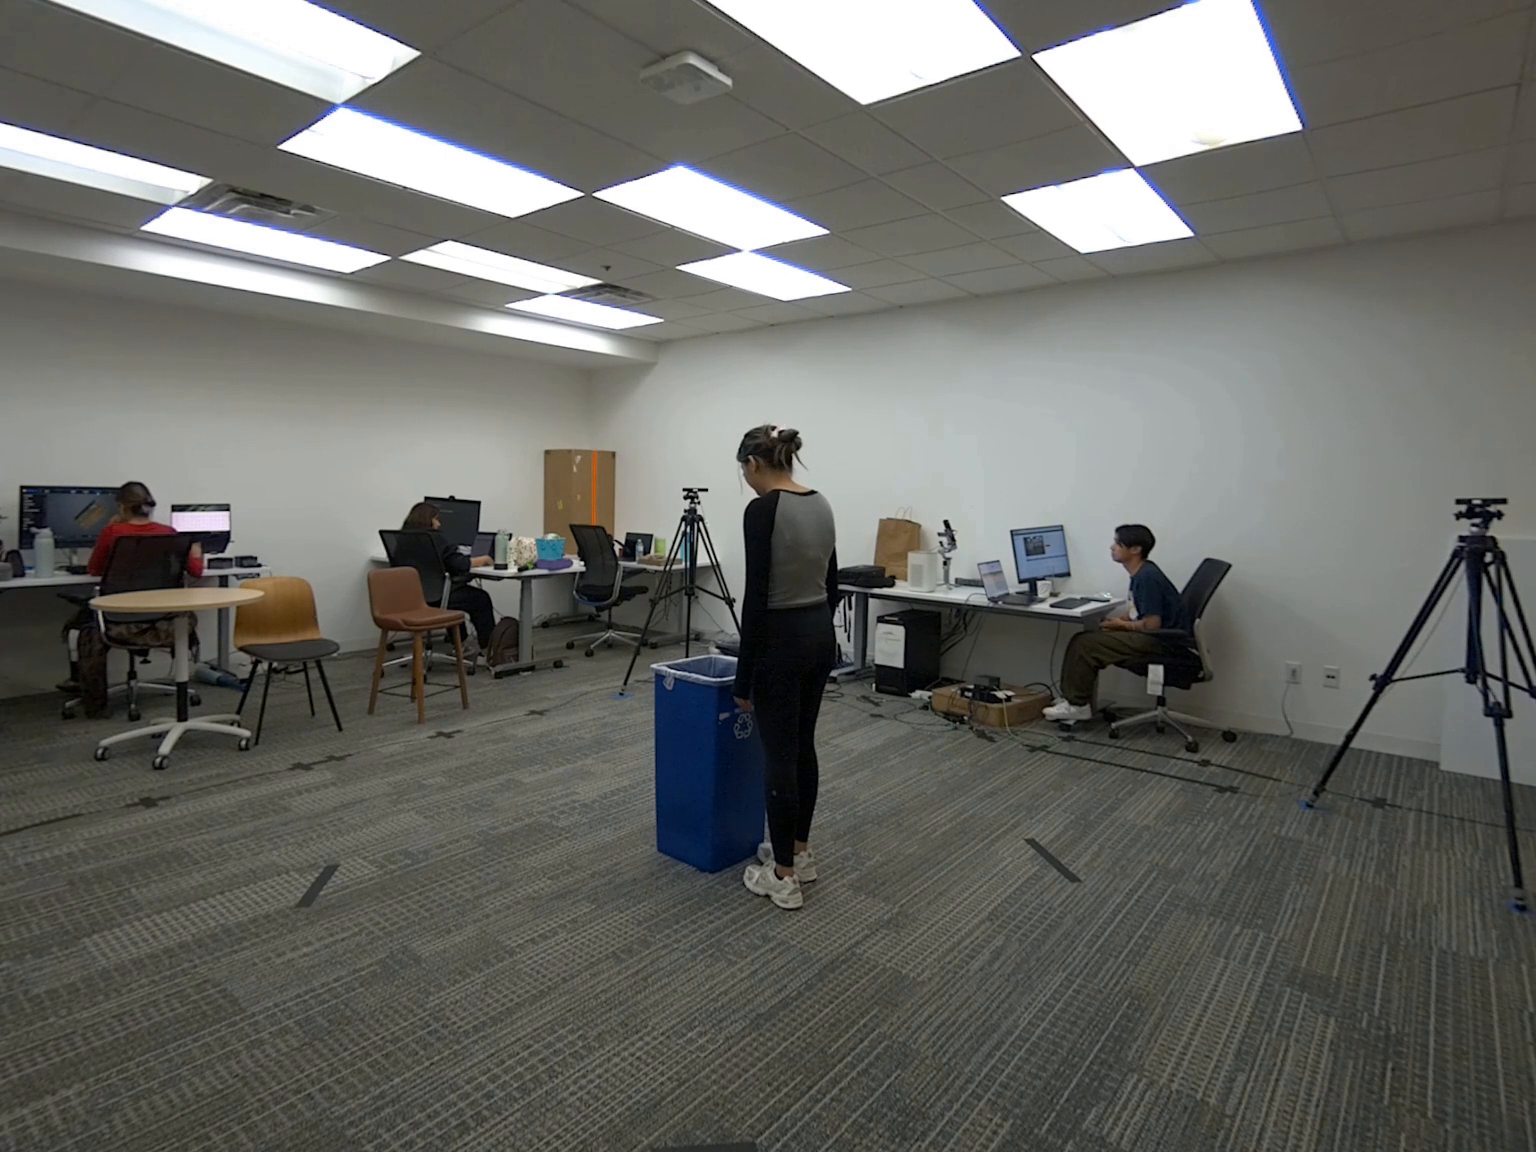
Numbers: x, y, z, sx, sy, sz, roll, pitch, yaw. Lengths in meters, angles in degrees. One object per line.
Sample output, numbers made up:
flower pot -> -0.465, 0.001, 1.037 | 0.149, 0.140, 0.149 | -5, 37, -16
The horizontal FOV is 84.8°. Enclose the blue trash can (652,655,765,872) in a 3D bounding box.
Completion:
blue trash can -> -0.224, 0.694, 3.267 | 0.391, 0.711, 0.363 | 4, 5, 41
